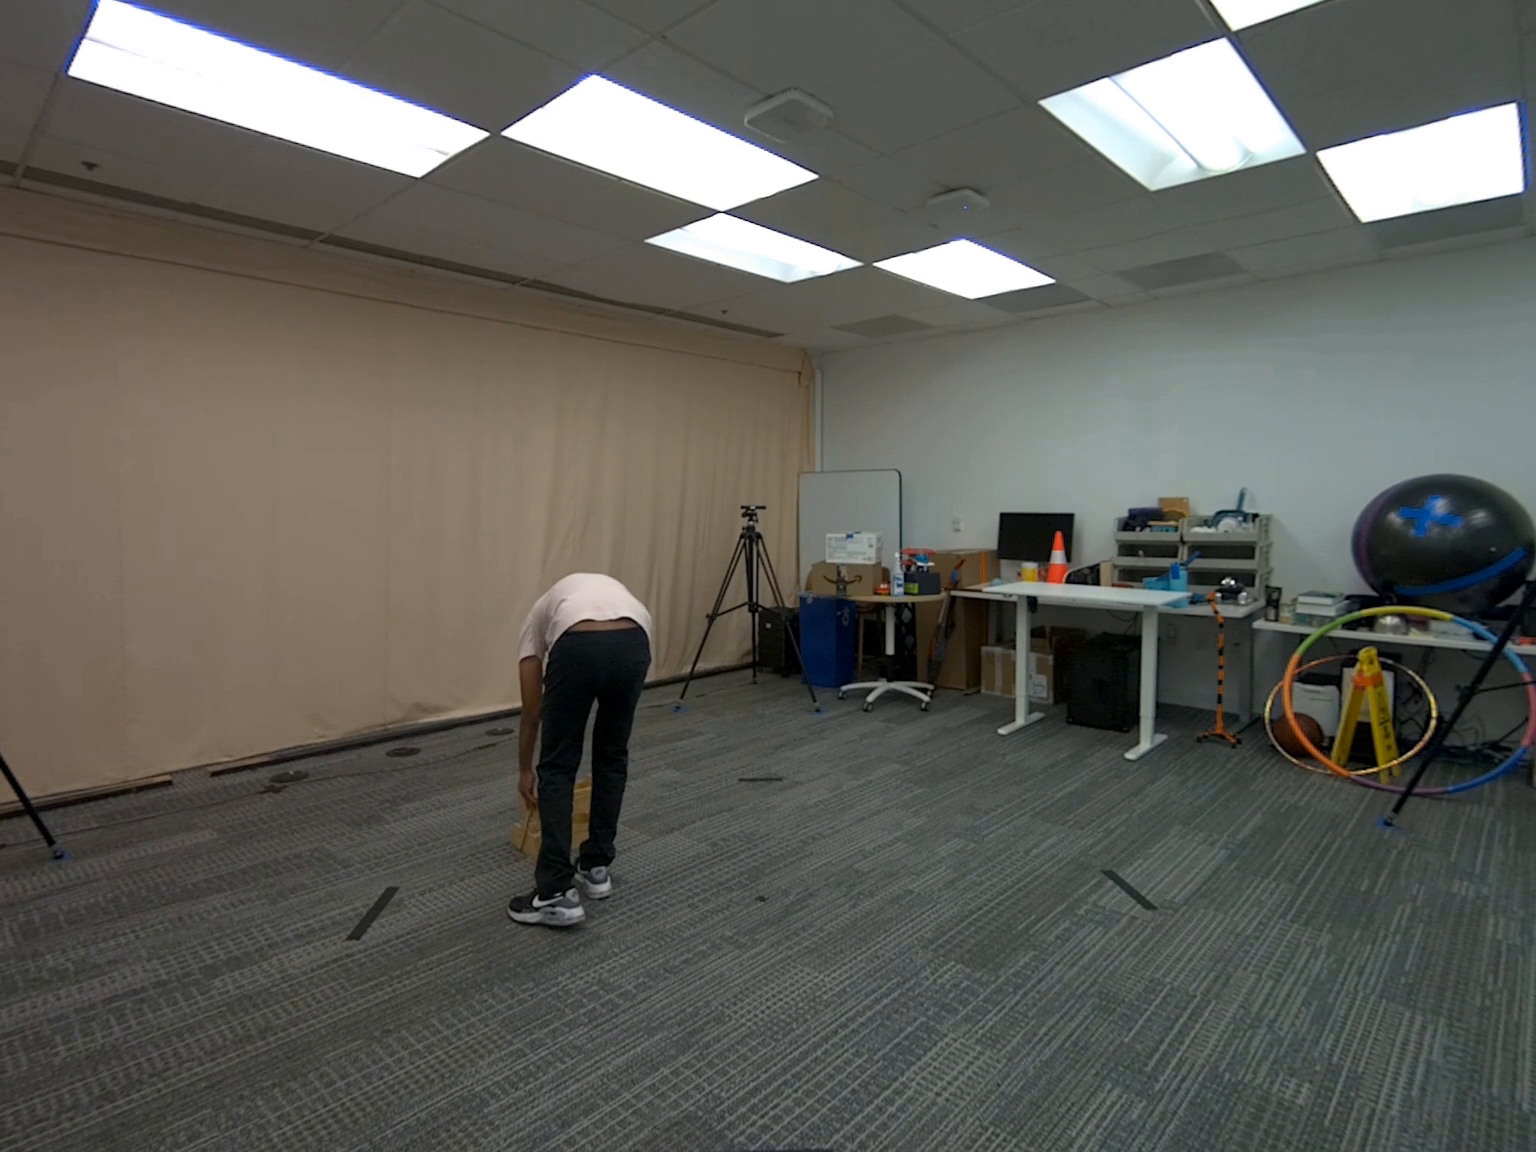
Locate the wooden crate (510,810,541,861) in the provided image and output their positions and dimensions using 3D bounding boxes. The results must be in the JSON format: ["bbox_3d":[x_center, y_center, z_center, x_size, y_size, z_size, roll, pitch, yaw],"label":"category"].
[{"bbox_3d":[-0.874,0.977,3.484,0.315,0.272,0.312,-4,7,-39],"label":"wooden crate"}]
